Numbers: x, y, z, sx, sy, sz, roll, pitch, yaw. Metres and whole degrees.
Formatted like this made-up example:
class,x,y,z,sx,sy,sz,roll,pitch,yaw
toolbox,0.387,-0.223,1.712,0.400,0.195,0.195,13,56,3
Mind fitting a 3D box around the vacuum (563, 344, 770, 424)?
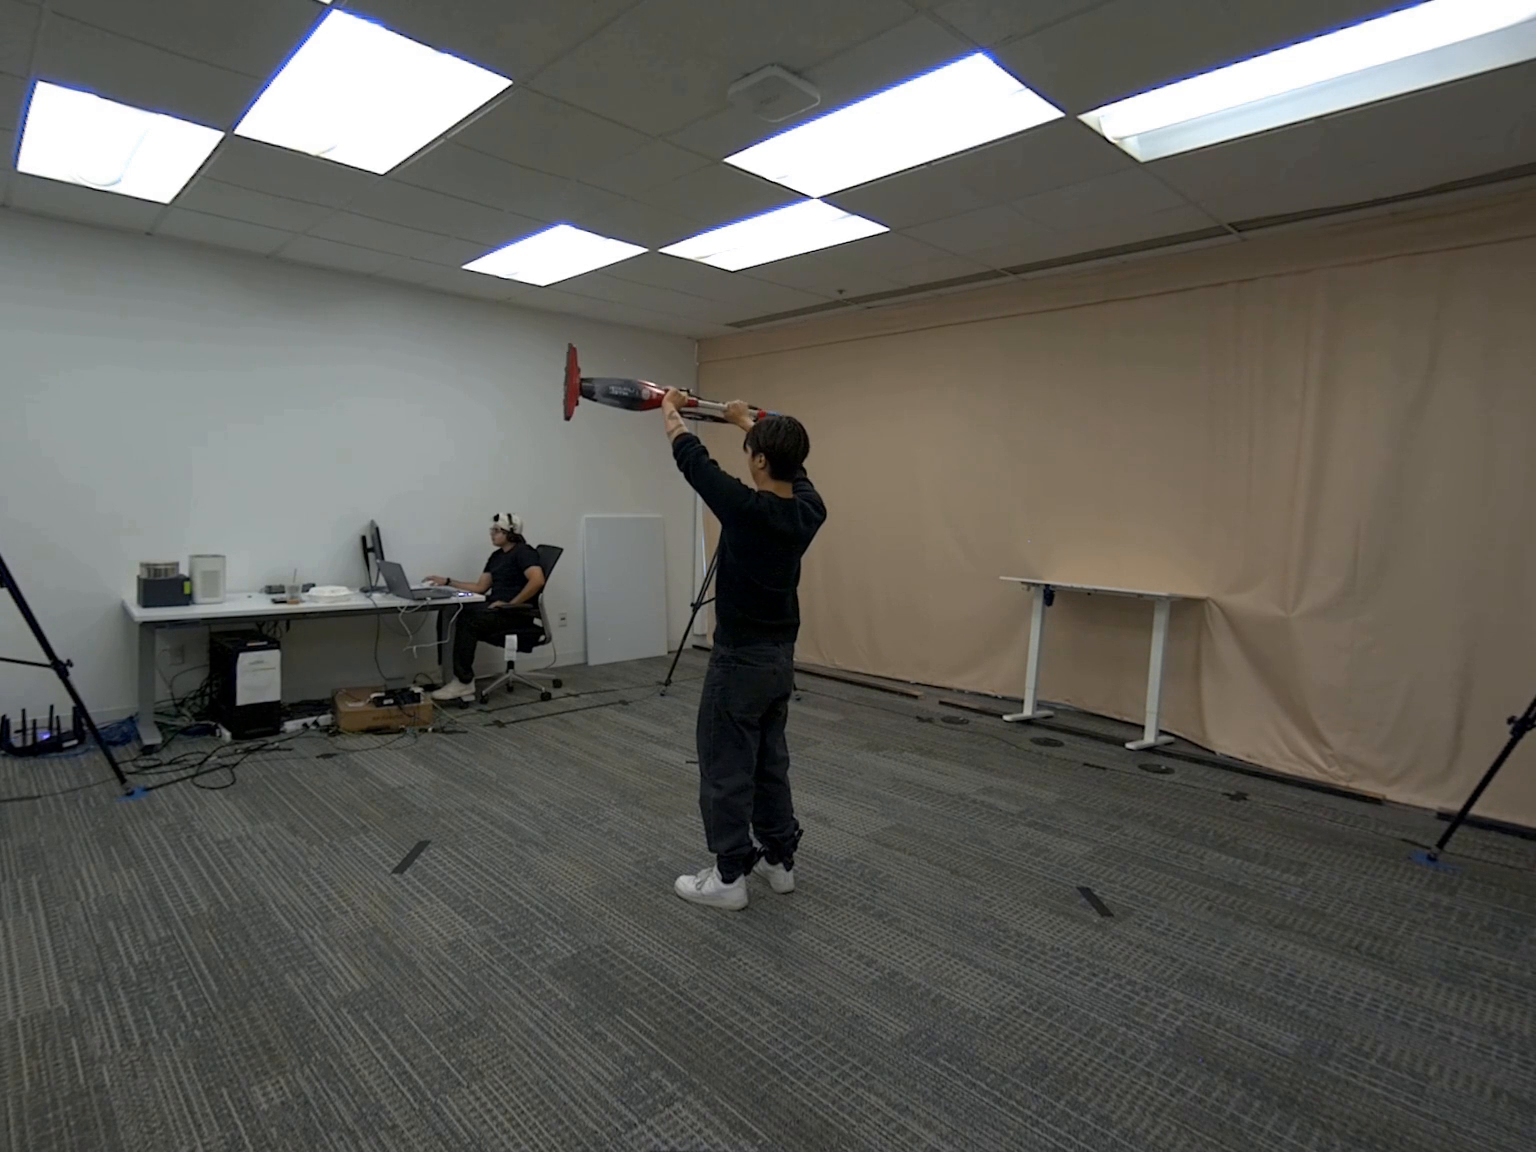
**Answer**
class,x,y,z,sx,sy,sz,roll,pitch,yaw
vacuum,-0.293,-0.641,3.154,1.024,0.252,0.148,1,5,-40
